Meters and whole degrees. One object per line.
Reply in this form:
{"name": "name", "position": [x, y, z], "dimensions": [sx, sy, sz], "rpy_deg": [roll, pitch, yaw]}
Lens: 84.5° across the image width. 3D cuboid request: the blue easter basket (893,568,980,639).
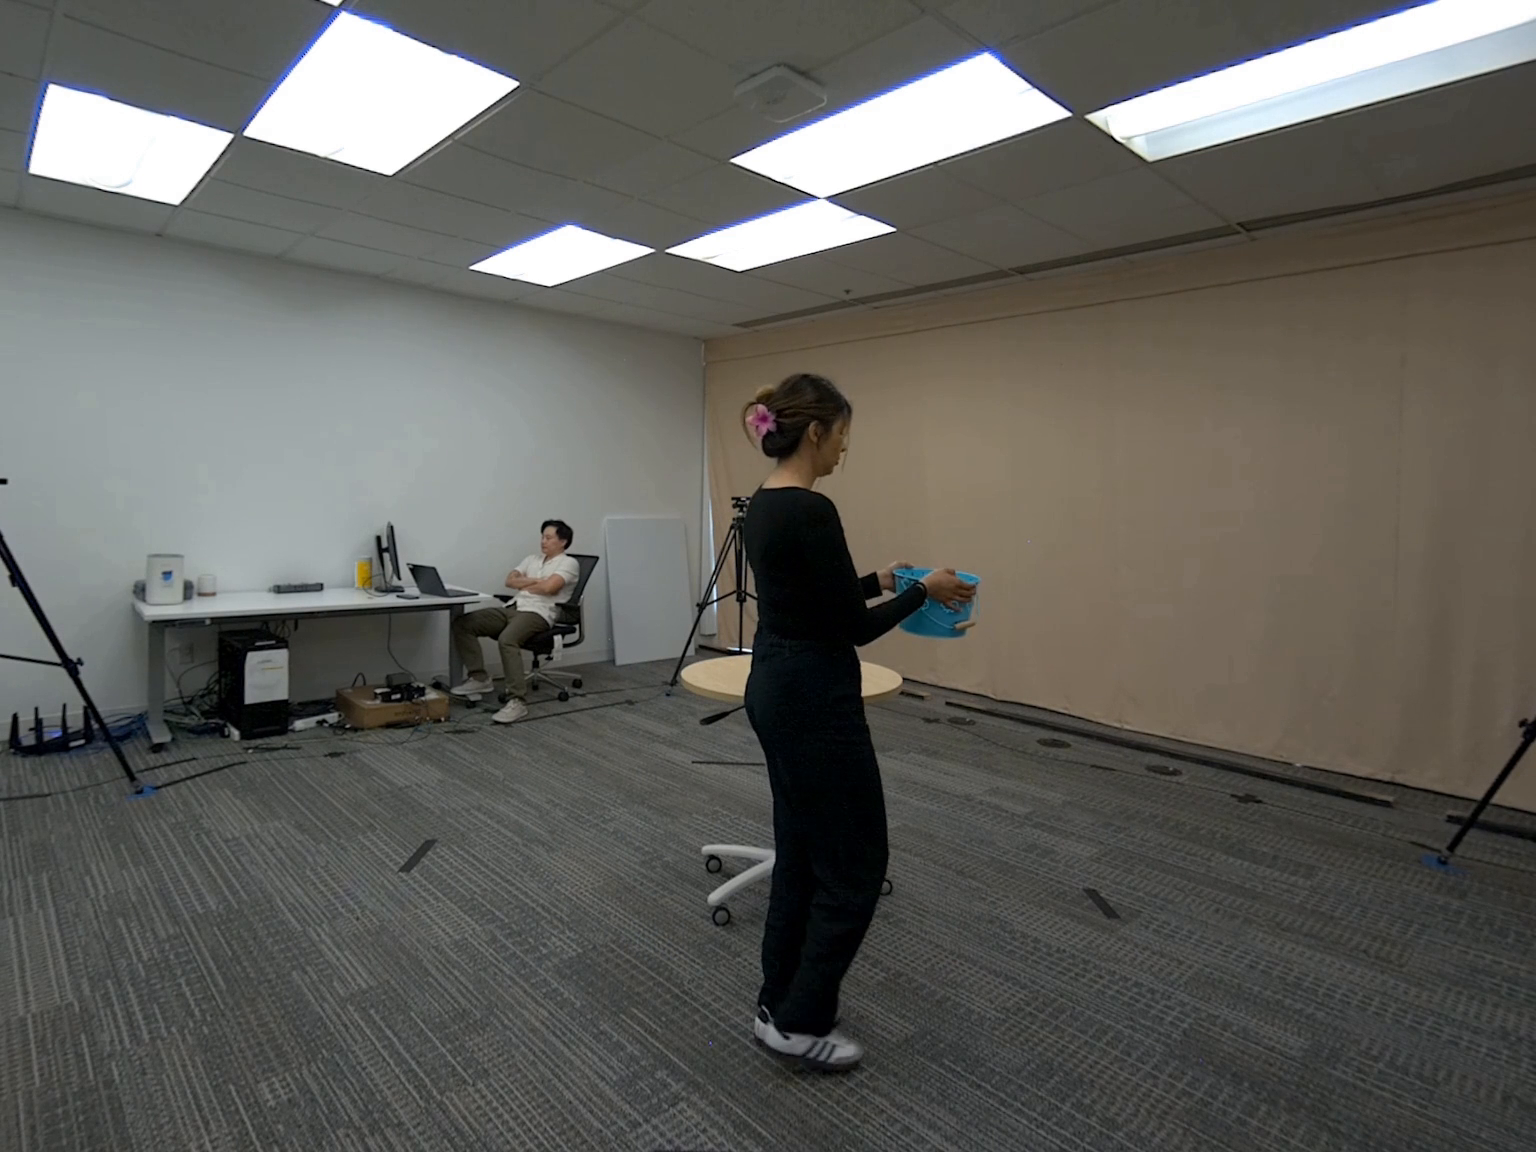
{"name": "blue easter basket", "position": [0.445, 0.076, 2.259], "dimensions": [0.243, 0.155, 0.245], "rpy_deg": [3, 9, -2]}
